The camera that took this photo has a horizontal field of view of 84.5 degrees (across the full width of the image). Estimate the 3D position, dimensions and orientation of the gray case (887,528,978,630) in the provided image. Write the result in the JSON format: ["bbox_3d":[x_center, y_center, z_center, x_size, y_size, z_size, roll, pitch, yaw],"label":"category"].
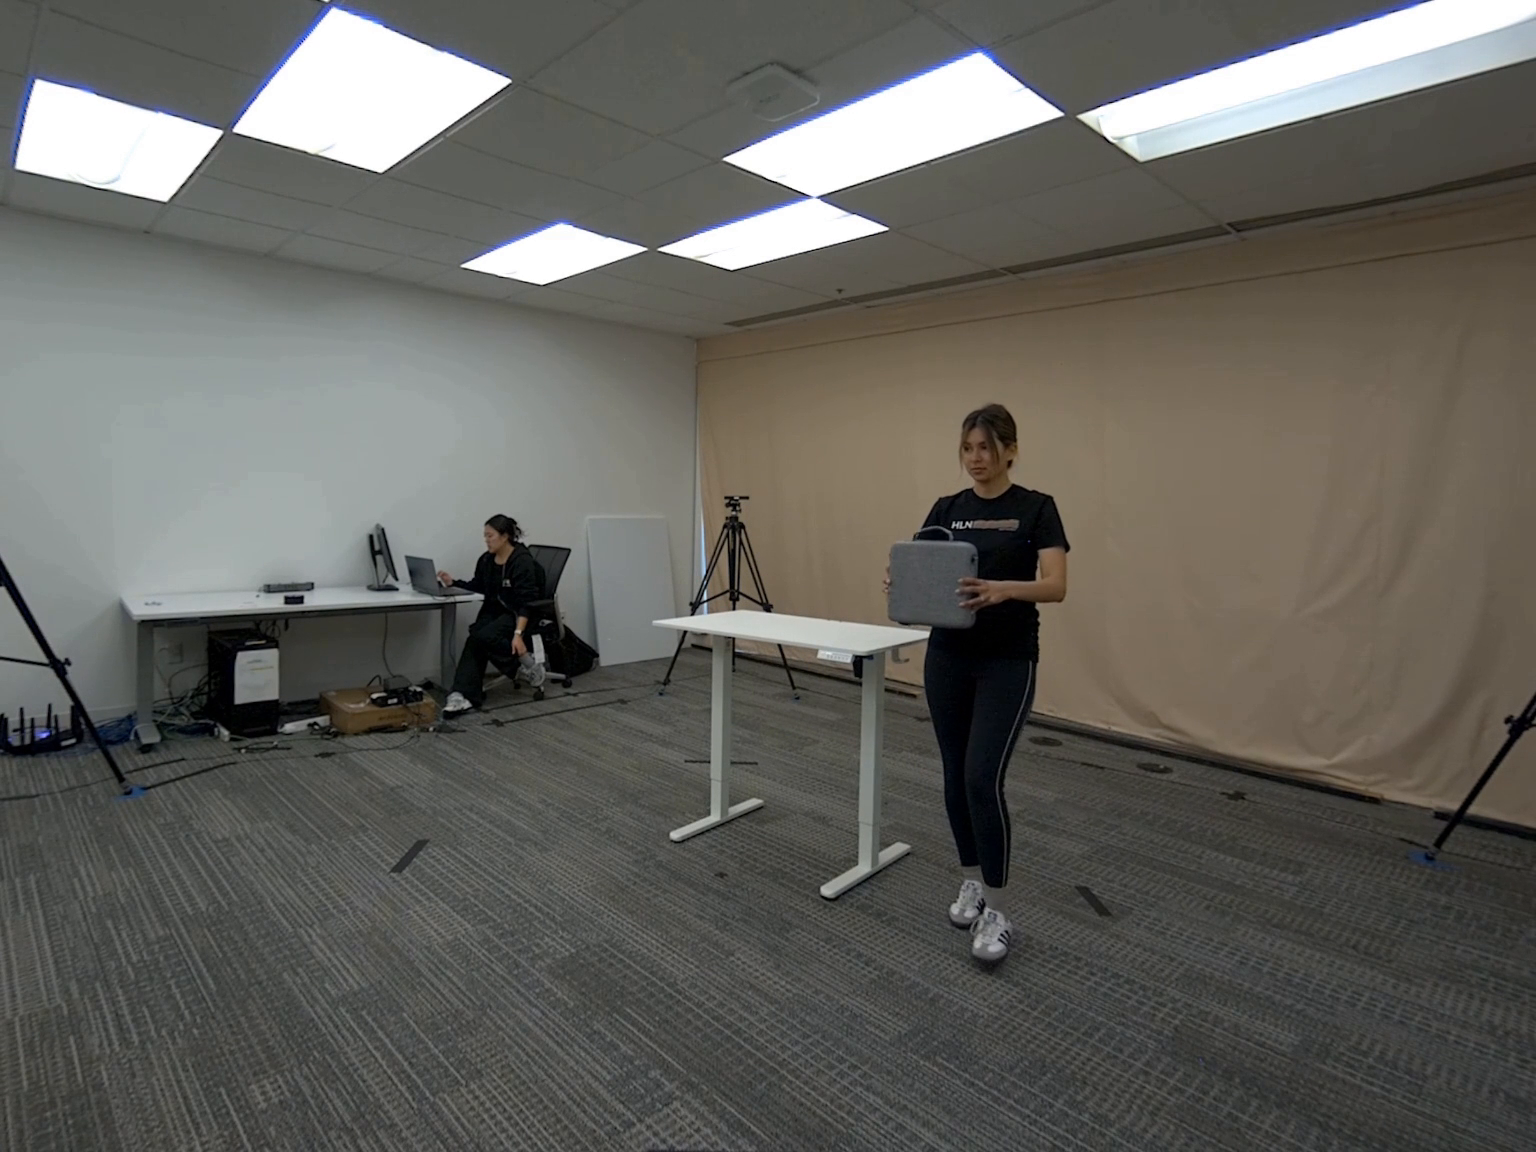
[{"bbox_3d":[0.495,0.017,2.536,0.263,0.261,0.102,3,-1,40],"label":"gray case"}]
